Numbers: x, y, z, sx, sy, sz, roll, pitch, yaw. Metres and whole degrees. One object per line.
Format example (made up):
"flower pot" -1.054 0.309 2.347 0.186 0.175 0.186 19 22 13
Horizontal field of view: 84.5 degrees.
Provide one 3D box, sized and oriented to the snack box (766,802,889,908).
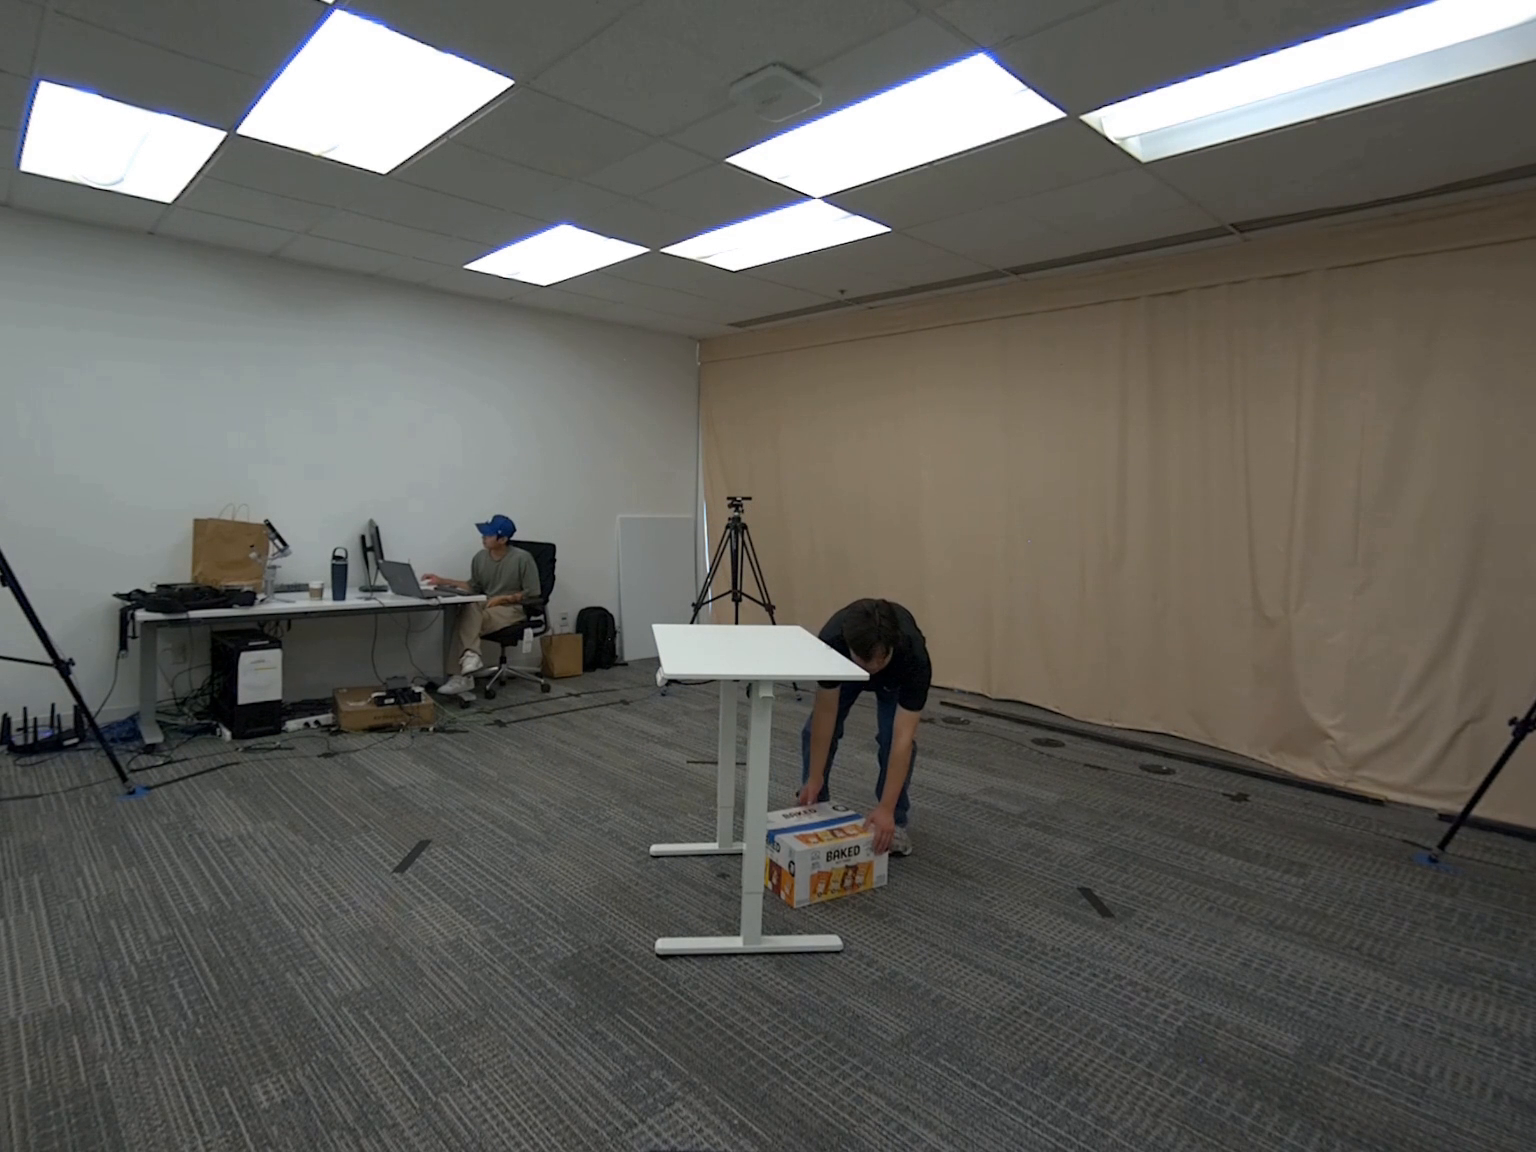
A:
"snack box" 0.174 1.014 3.094 0.397 0.205 0.348 -1 6 -30
